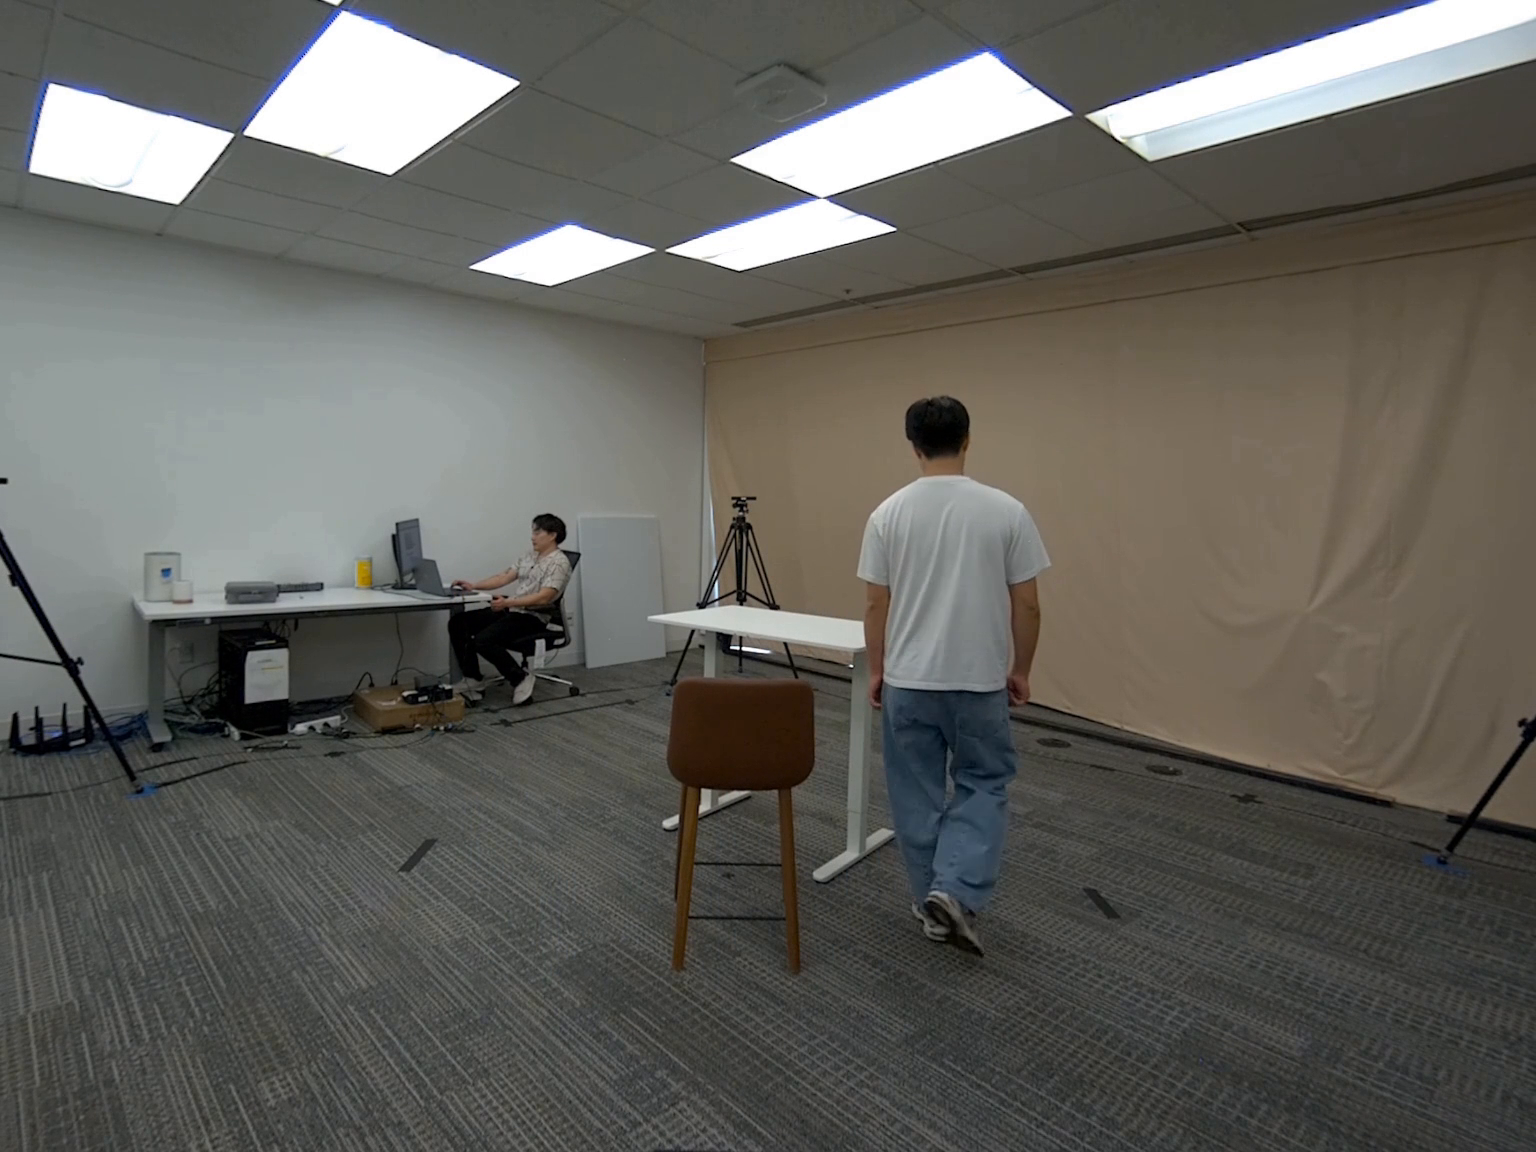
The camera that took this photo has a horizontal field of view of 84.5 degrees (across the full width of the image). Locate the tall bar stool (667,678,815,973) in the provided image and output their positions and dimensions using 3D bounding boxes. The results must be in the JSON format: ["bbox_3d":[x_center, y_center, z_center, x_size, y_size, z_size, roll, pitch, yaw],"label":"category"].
[{"bbox_3d":[-0.100,0.713,2.666,0.455,0.886,0.470,1,5,-3],"label":"tall bar stool"}]
